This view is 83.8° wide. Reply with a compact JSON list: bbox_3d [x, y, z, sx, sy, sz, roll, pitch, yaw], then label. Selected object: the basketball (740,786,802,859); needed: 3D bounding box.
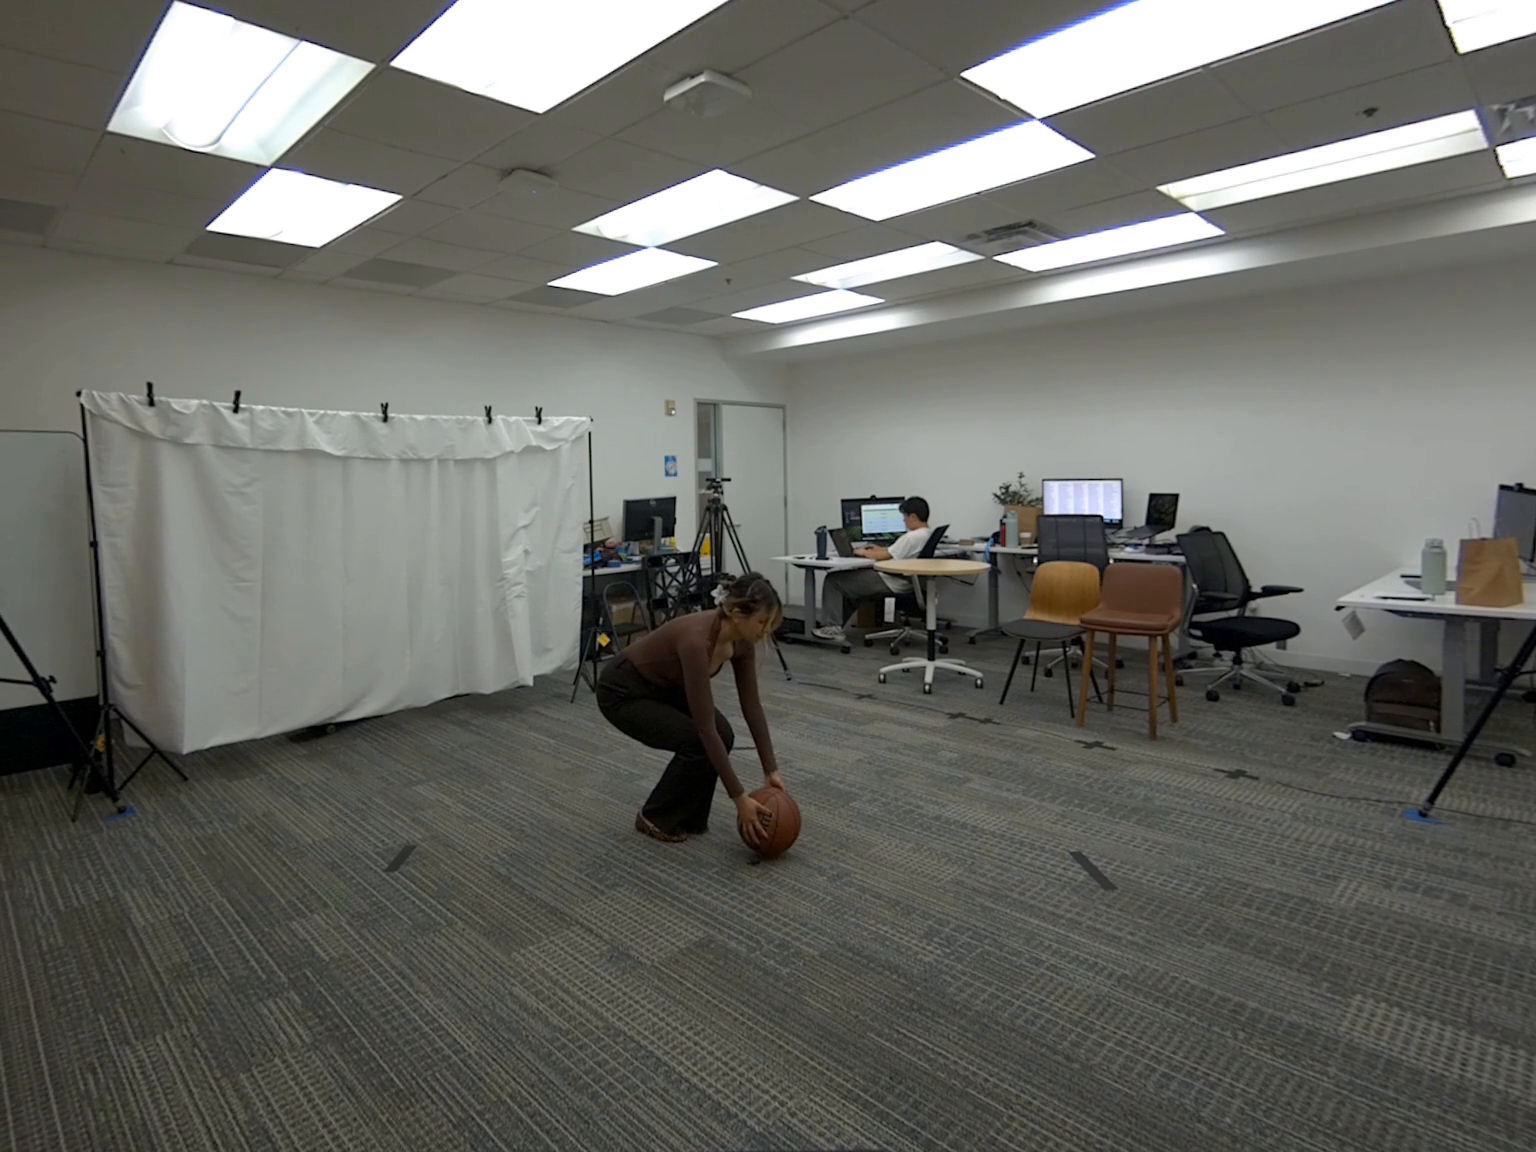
[{"bbox_3d":[0.009,0.892,3.161,0.236,0.235,0.237,-1,5,-2],"label":"basketball"}]
